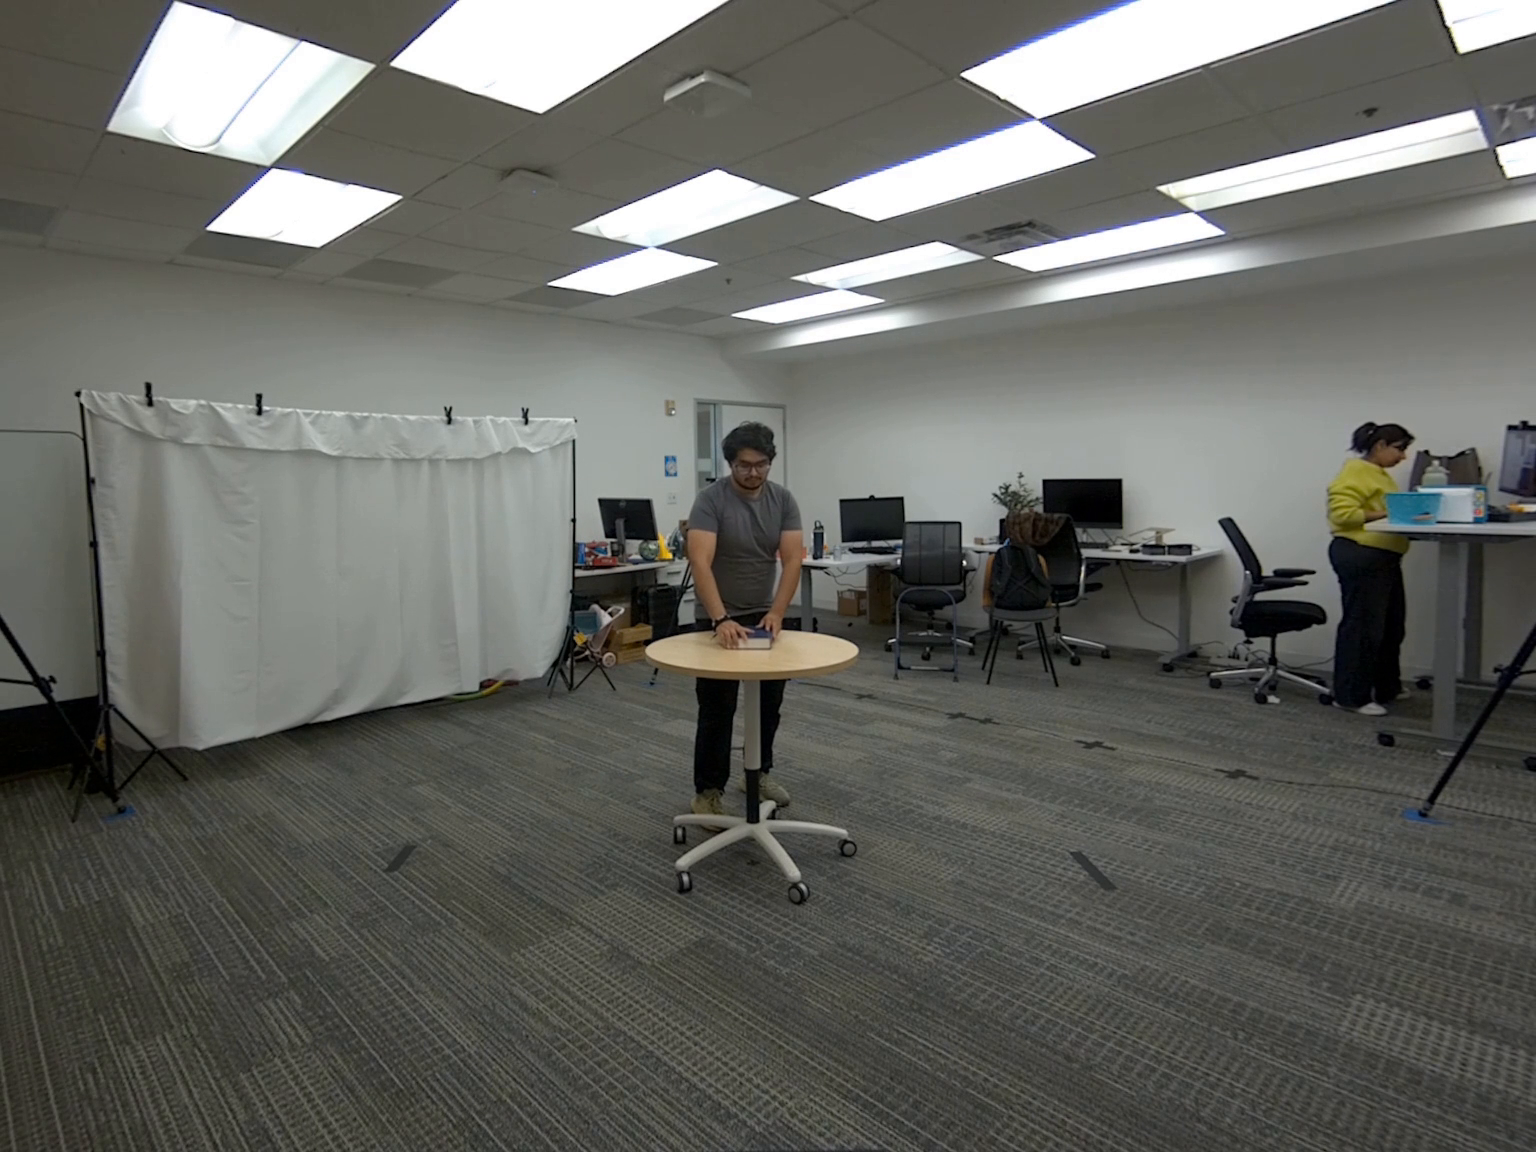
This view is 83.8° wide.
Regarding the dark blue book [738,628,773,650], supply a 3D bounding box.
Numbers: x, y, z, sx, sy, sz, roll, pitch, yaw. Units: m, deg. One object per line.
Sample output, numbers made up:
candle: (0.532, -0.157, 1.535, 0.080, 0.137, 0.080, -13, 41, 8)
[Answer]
dark blue book: (-0.067, 0.232, 3.186, 0.164, 0.045, 0.245, -1, 6, 3)
